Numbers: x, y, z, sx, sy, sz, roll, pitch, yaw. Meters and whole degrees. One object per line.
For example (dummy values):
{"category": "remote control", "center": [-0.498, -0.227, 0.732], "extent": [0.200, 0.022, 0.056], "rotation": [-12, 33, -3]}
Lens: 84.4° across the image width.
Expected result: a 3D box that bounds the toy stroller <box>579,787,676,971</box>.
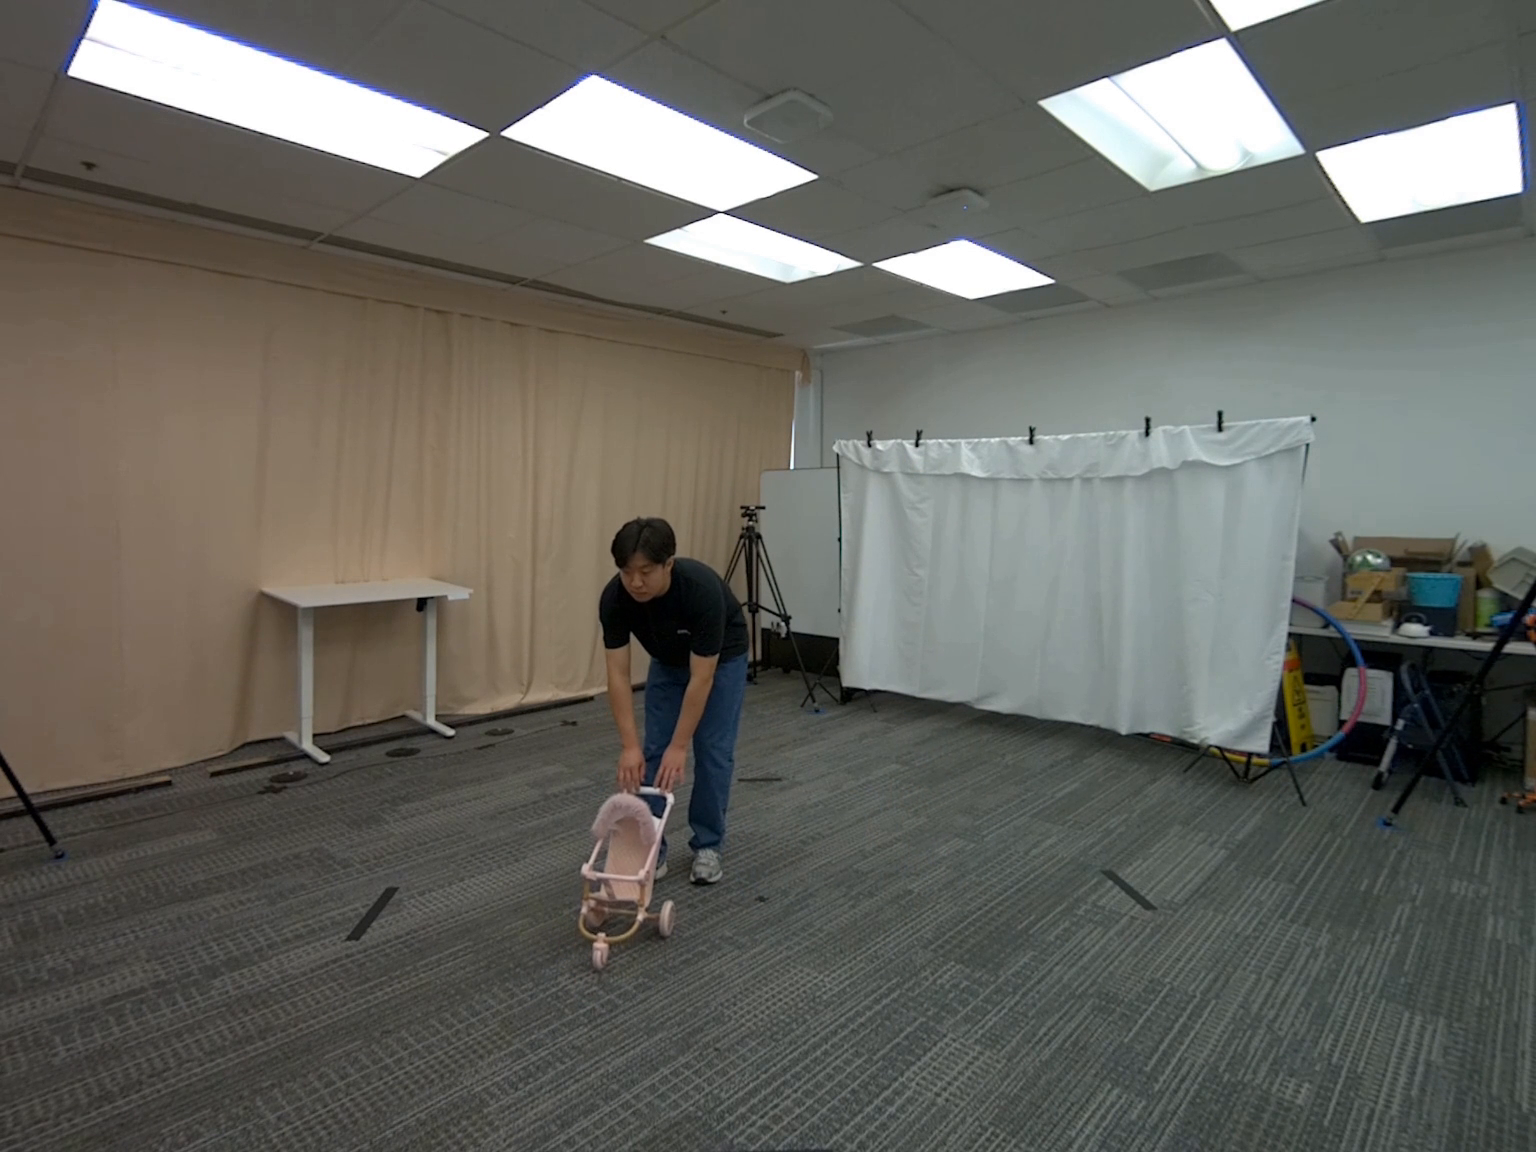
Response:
{"category": "toy stroller", "center": [-0.463, 0.946, 2.702], "extent": [0.287, 0.539, 0.332], "rotation": [0, -15, 18]}
